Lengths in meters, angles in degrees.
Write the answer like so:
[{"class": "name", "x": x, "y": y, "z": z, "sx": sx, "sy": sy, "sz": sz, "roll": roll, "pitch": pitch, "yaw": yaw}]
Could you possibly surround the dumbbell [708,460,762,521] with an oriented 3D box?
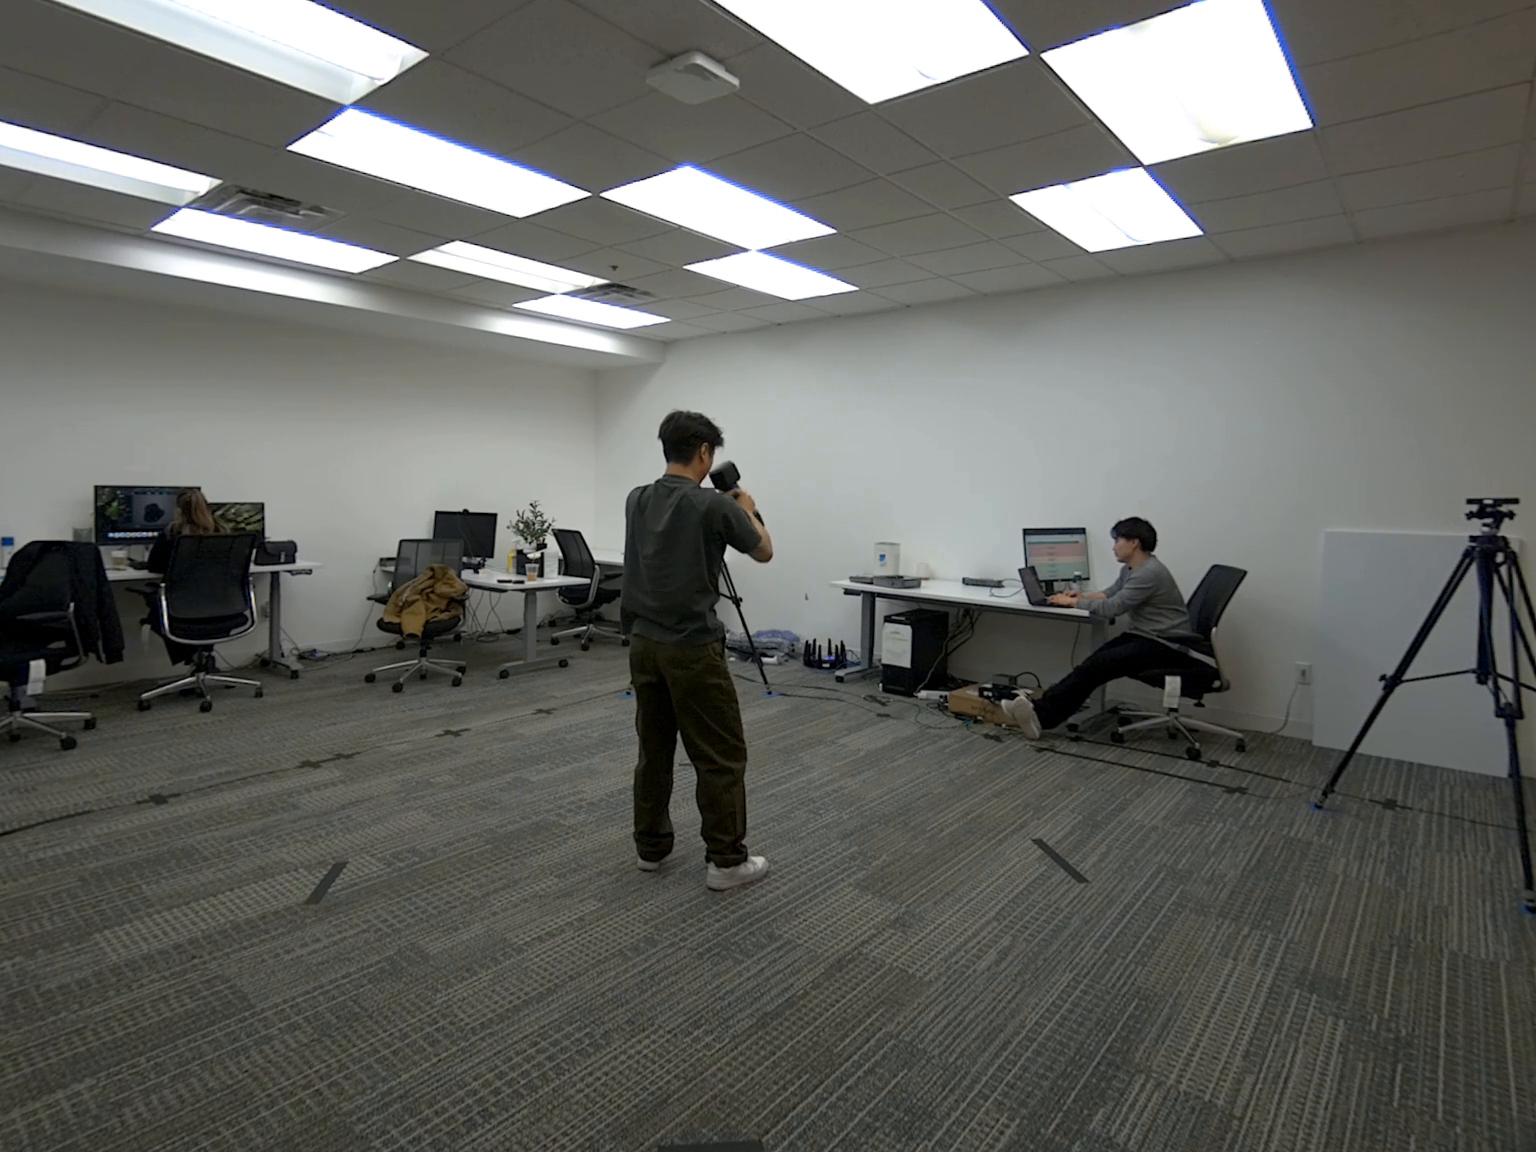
[{"class": "dumbbell", "x": -0.133, "y": -0.301, "z": 3.260, "sx": 0.109, "sy": 0.289, "sz": 0.125, "roll": -26, "pitch": 13, "yaw": 4}]
